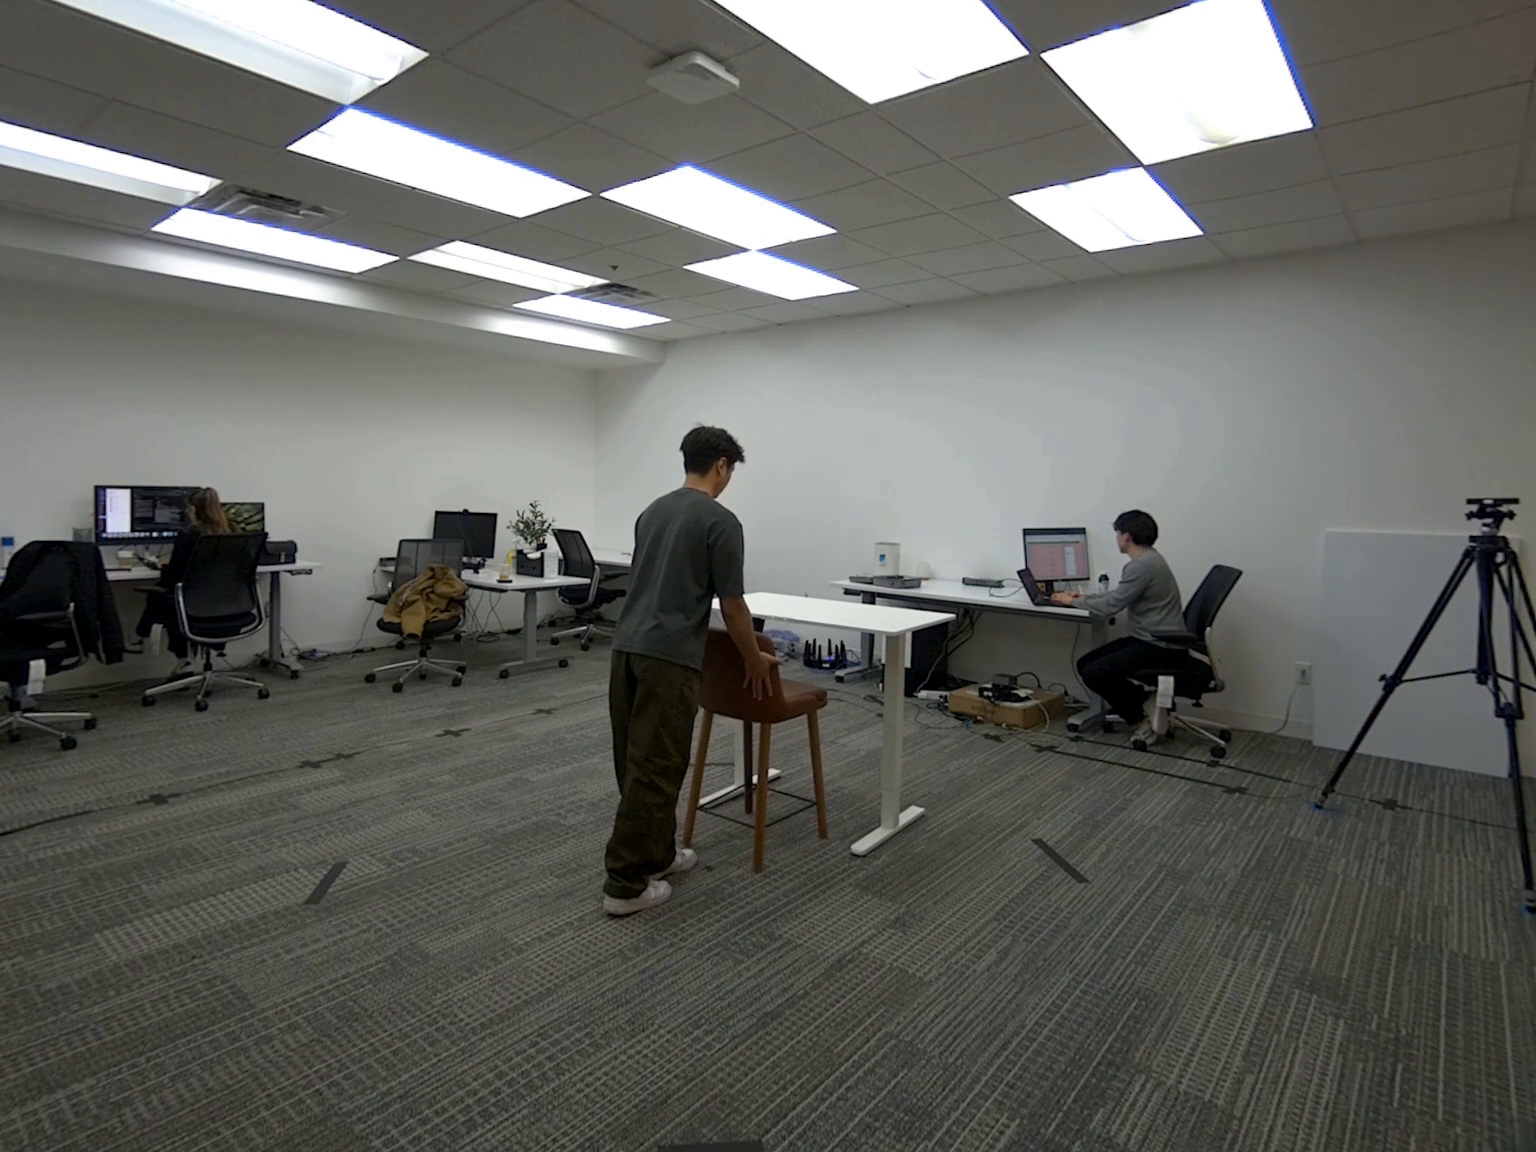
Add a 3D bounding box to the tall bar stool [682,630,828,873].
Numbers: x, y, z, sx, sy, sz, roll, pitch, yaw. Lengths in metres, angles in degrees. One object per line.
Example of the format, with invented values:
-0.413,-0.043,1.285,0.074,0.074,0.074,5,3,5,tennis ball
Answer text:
-0.059,0.605,3.342,0.472,0.885,0.455,4,7,38,tall bar stool
